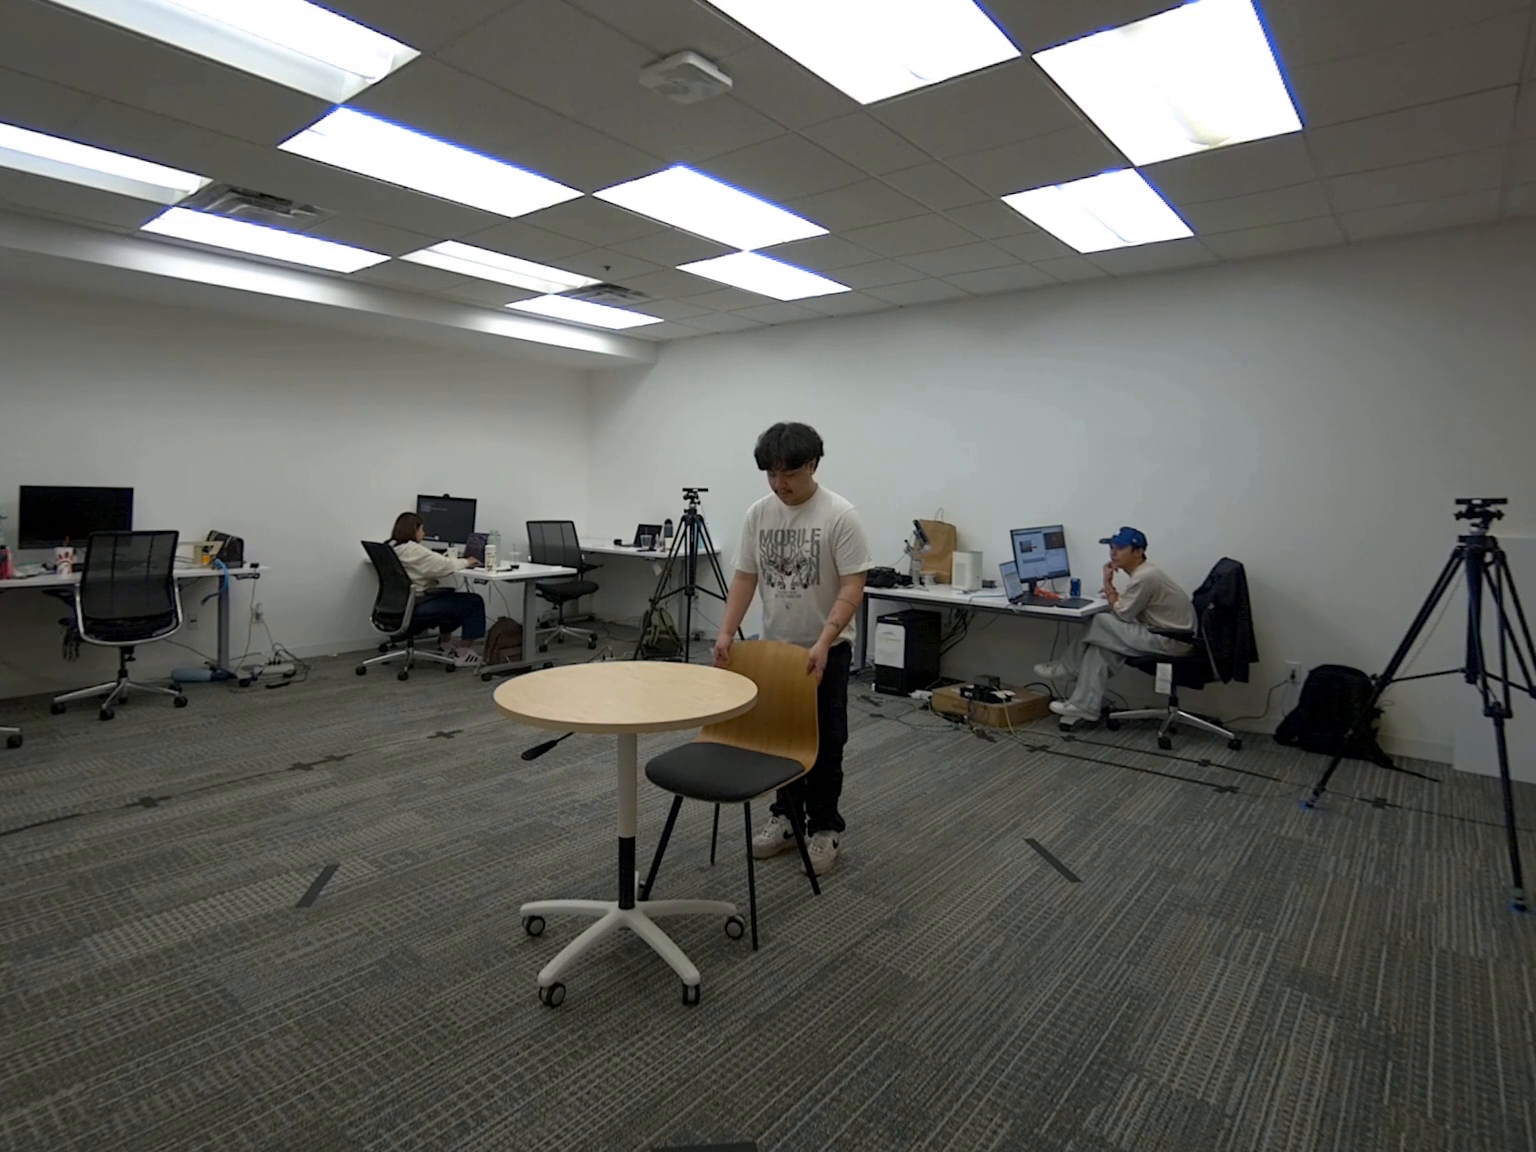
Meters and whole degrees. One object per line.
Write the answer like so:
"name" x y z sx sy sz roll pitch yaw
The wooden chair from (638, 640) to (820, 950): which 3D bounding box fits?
"wooden chair" -0.125 0.670 2.835 0.492 0.877 0.508 4 0 31
